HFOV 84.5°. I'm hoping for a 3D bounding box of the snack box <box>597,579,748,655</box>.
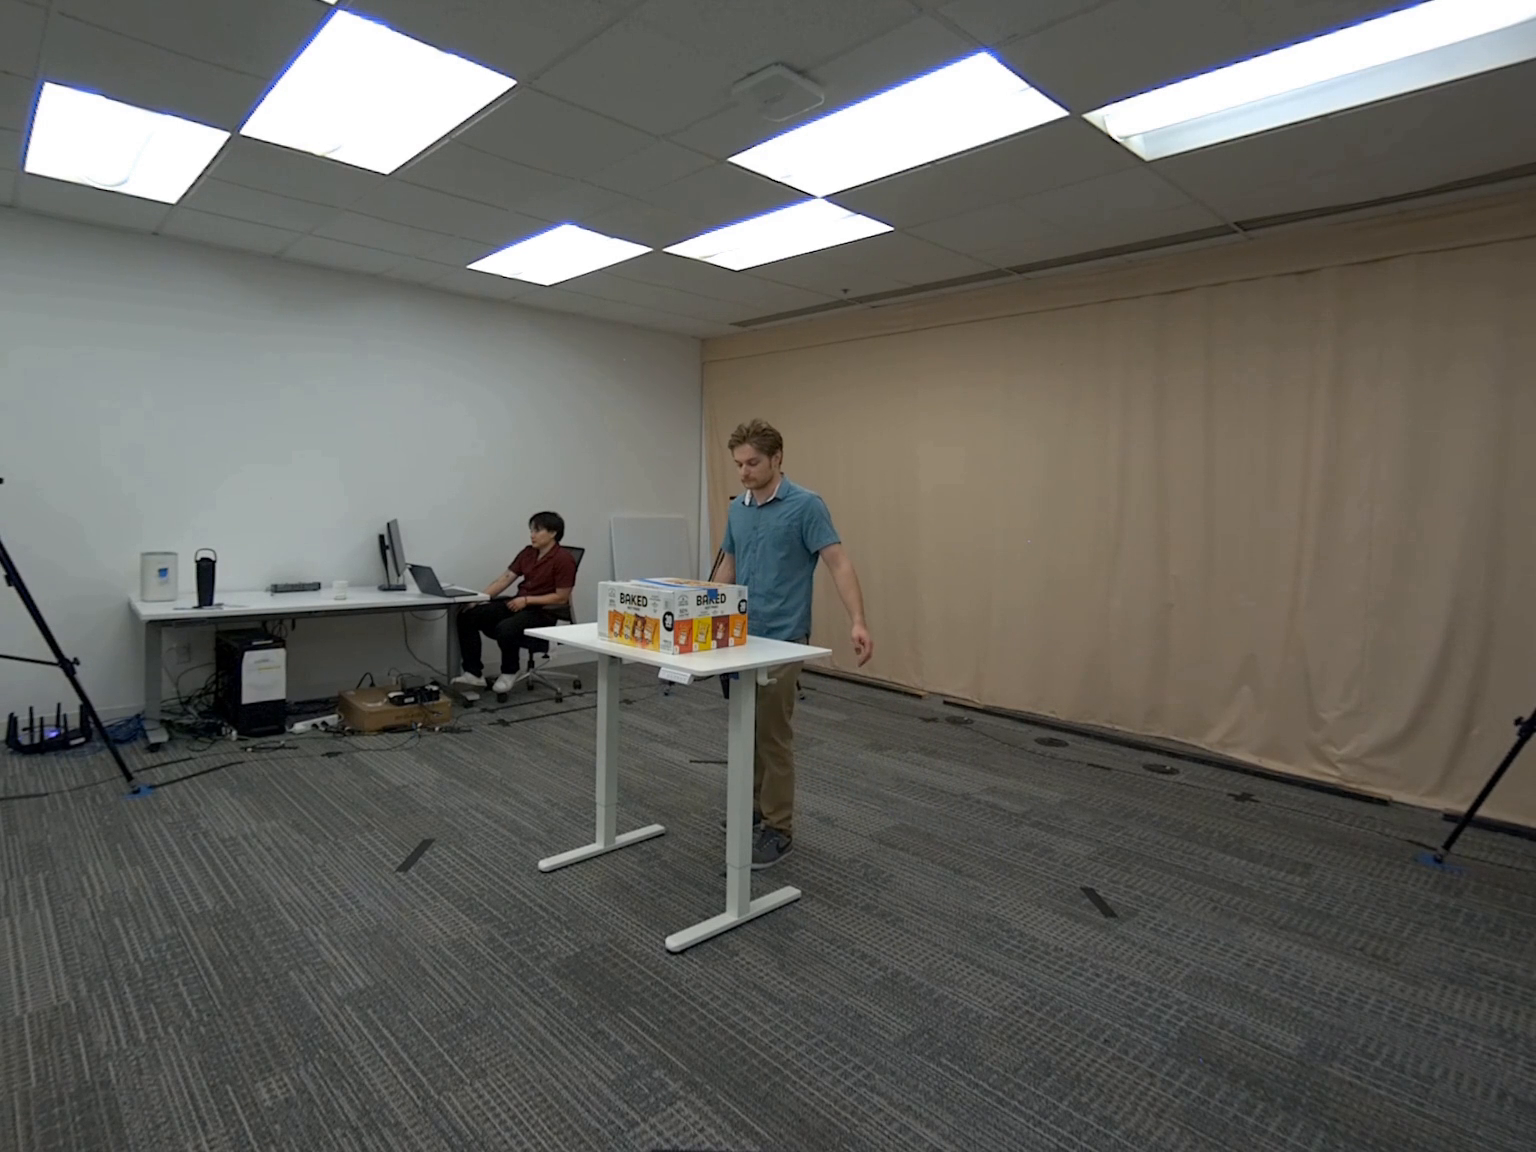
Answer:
[{"bbox_3d":[-0.342,0.131,2.934,0.415,0.205,0.332,5,5,43],"label":"snack box"}]
